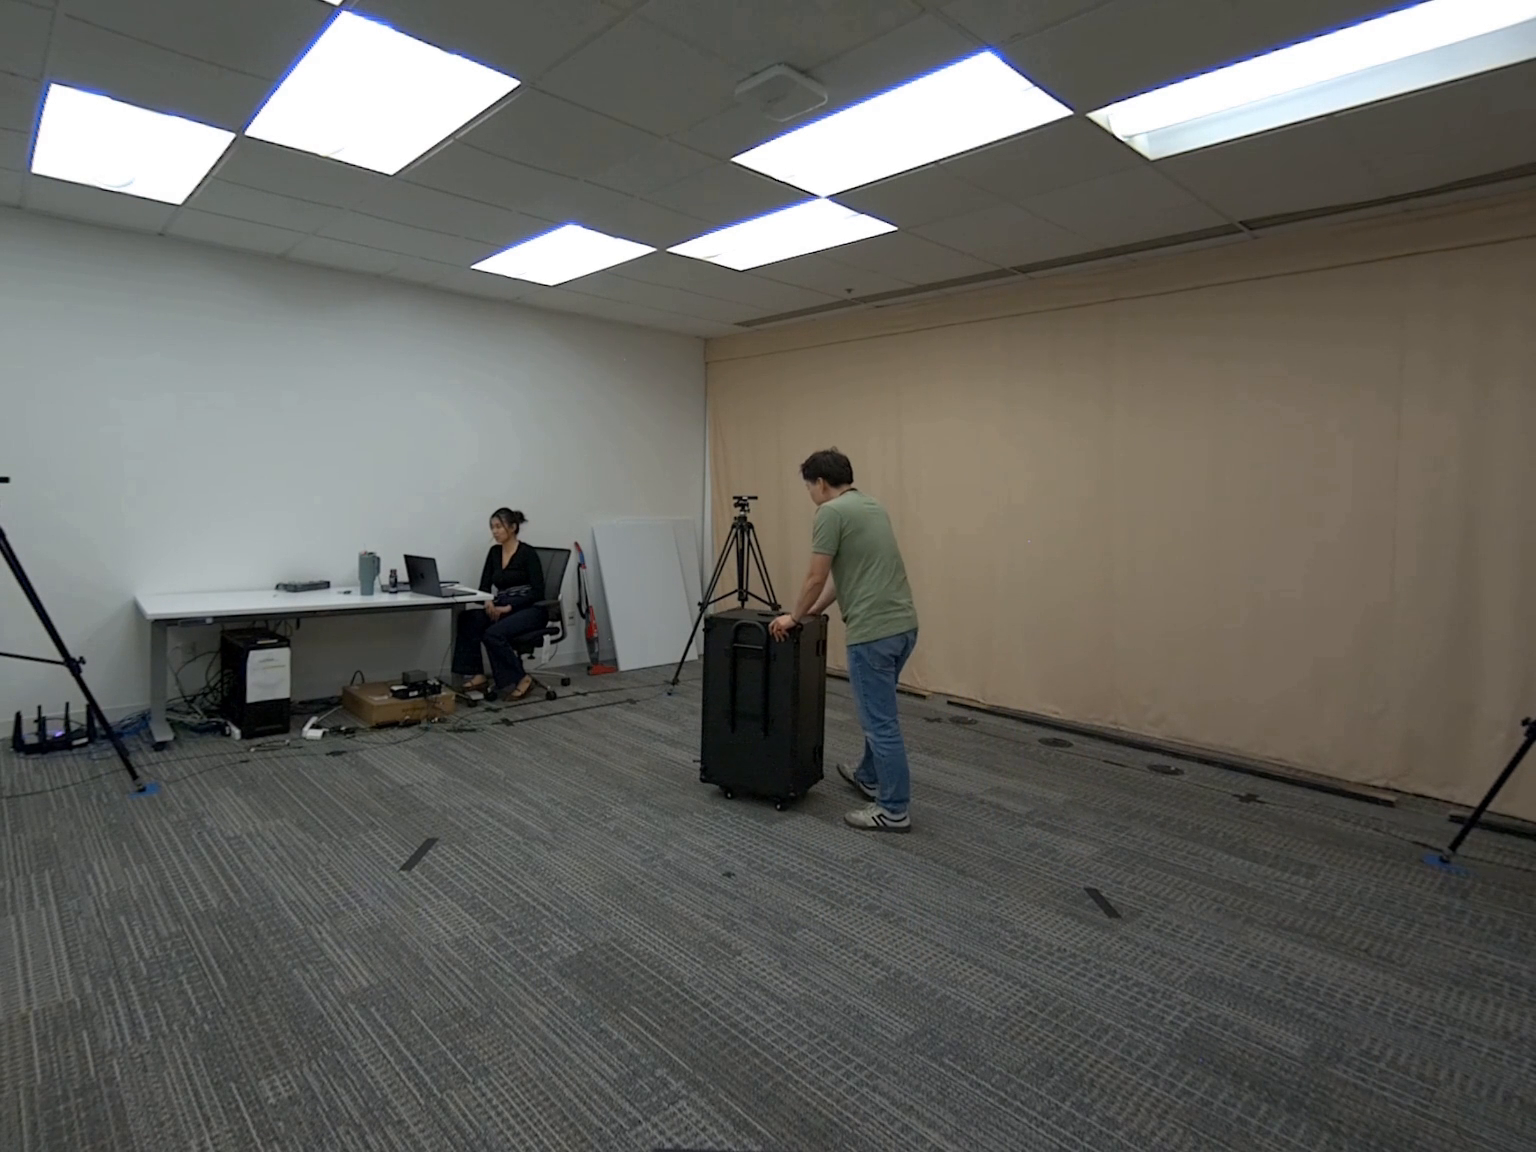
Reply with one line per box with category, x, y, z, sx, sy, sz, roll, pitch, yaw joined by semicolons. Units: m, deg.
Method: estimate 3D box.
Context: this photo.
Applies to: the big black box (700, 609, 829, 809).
big black box;-0.023;0.604;3.930;0.531;0.859;0.390;3;5;26
